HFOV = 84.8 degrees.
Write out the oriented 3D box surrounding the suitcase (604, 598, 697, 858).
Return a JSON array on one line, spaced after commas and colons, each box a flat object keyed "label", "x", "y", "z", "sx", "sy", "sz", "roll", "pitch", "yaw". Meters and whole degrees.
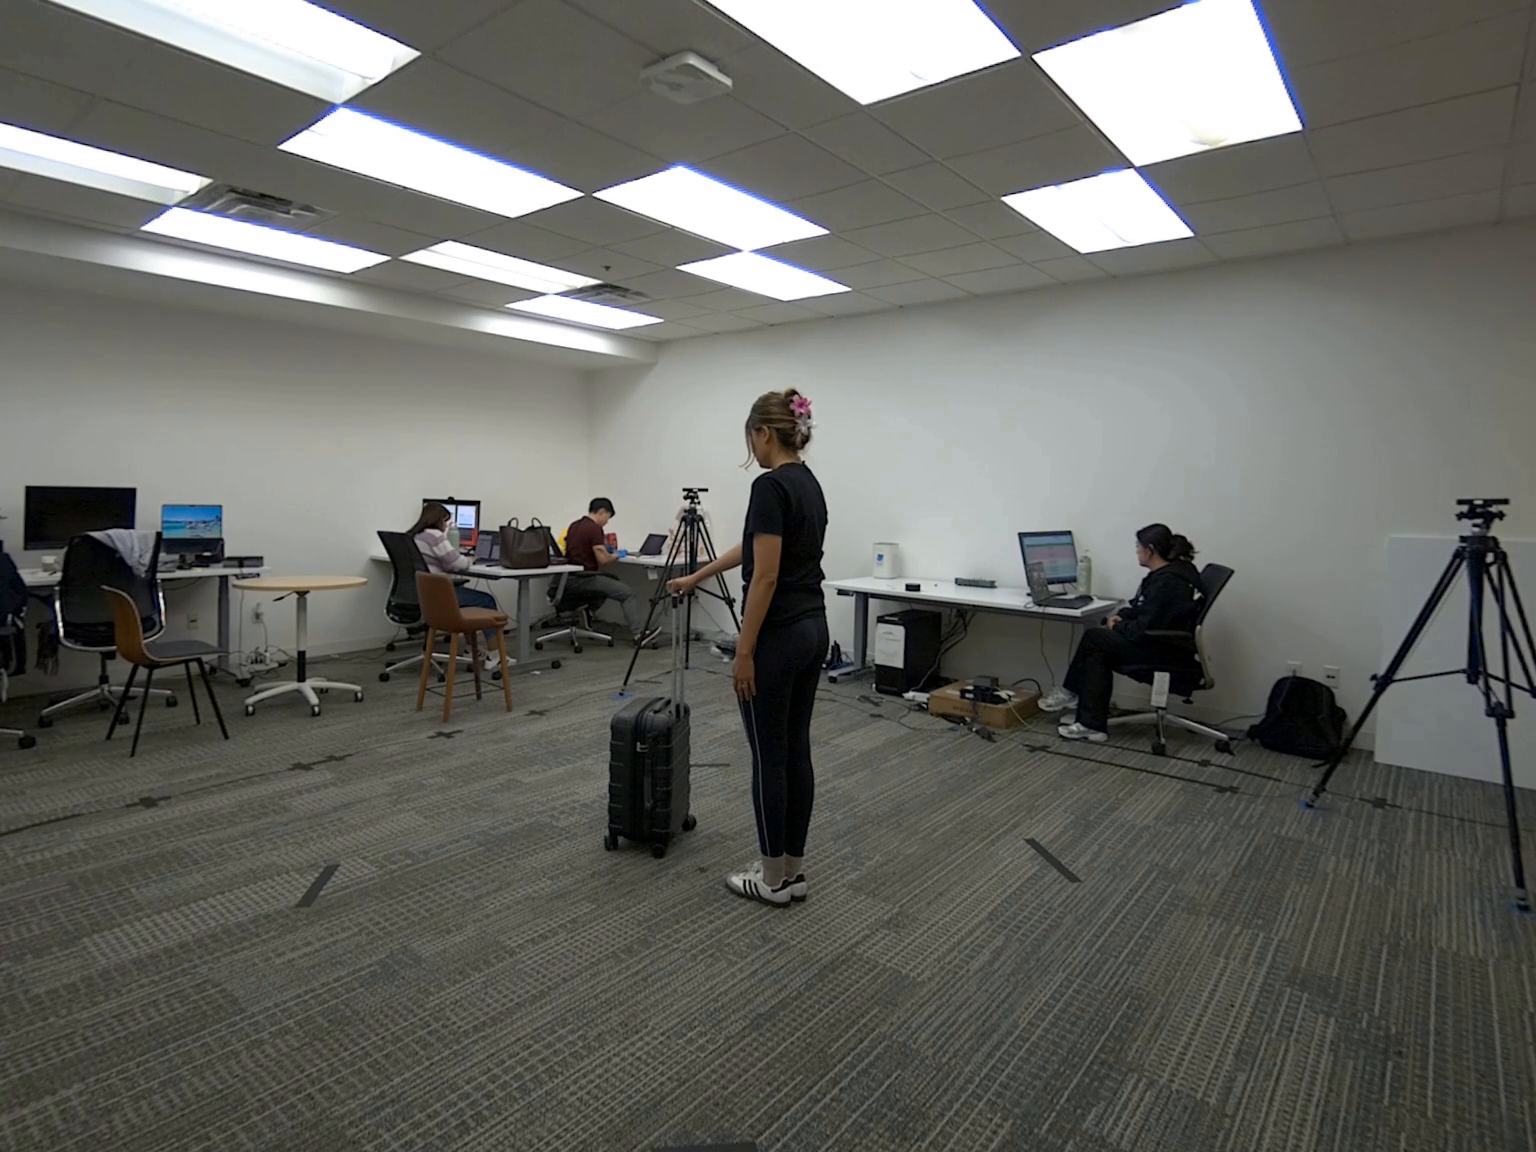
[{"label": "suitcase", "x": -0.476, "y": 0.568, "z": 3.354, "sx": 0.260, "sy": 0.977, "sz": 0.380, "roll": -1, "pitch": 2, "yaw": 11}]
